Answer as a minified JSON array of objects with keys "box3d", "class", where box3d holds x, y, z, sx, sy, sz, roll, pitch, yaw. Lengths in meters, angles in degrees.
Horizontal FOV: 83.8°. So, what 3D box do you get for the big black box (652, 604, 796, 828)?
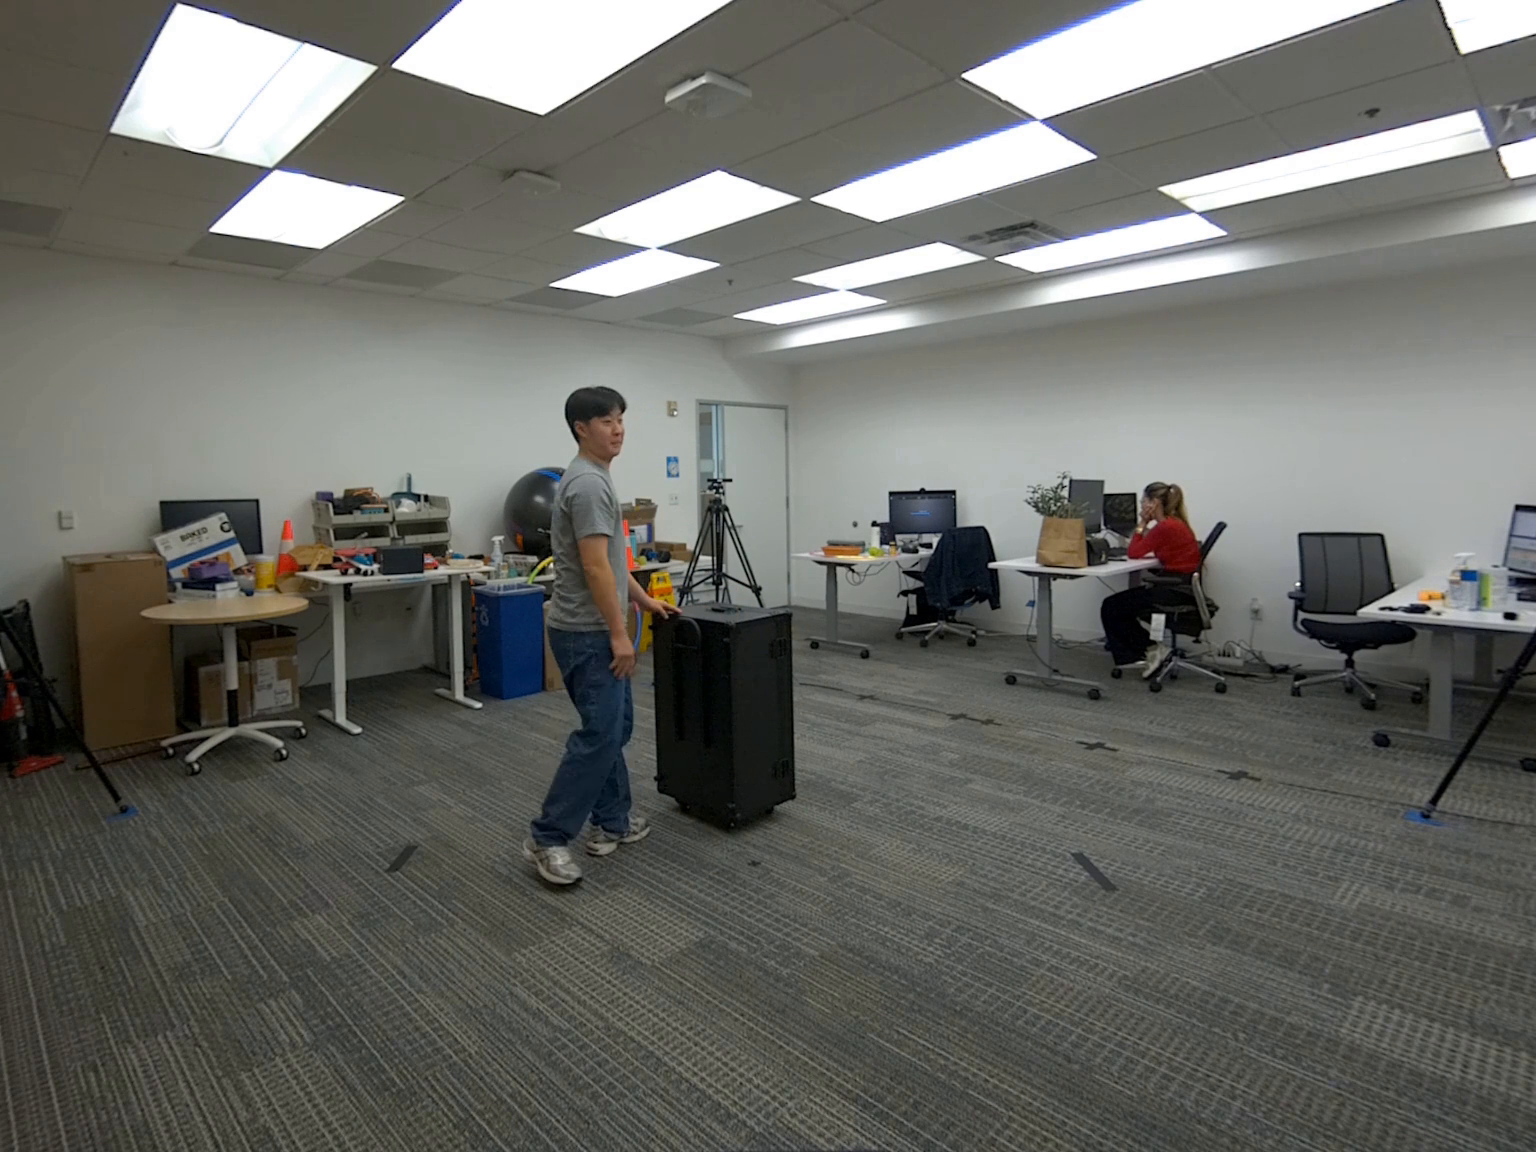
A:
[{"box3d":[-0.189,0.571,3.568,0.537,0.858,0.386,3,7,45],"class":"big black box"}]
